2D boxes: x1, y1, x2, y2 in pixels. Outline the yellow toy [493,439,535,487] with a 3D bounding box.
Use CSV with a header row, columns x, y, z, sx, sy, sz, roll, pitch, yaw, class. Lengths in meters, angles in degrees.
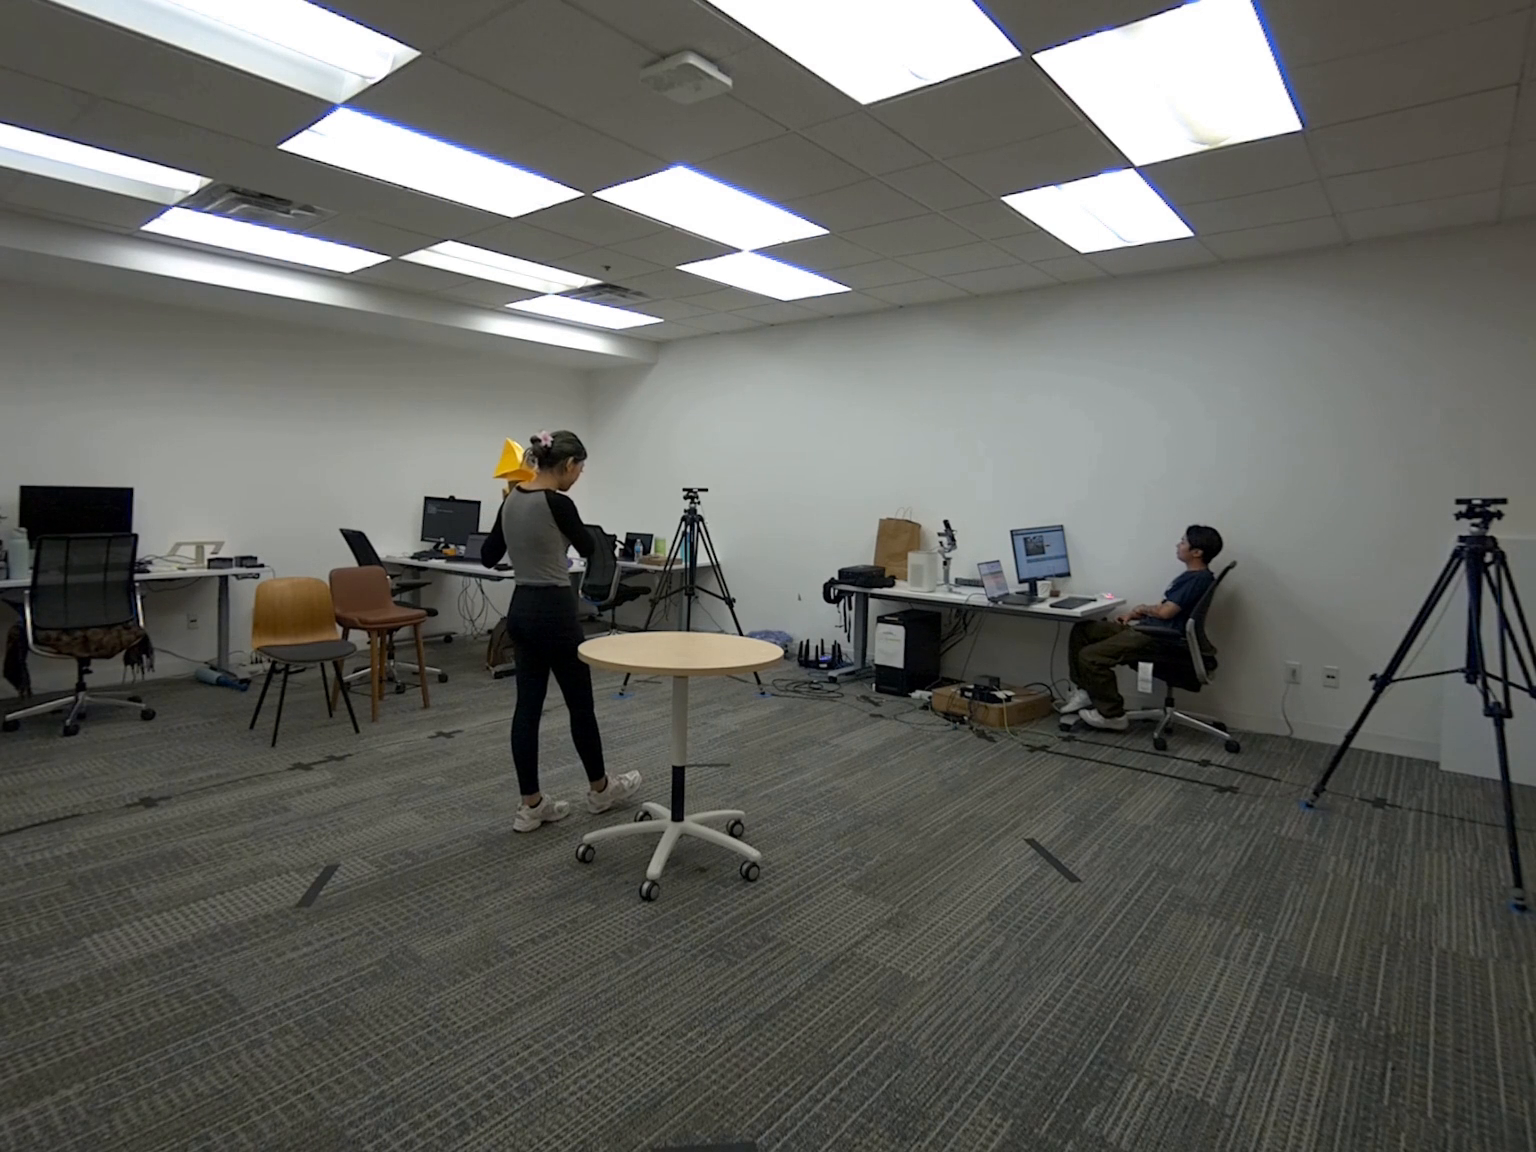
x,y,z,sx,sy,sz,roll,pitch,yaw,class
-1.063,-0.480,3.631,0.210,0.231,0.187,-10,-2,43,yellow toy
